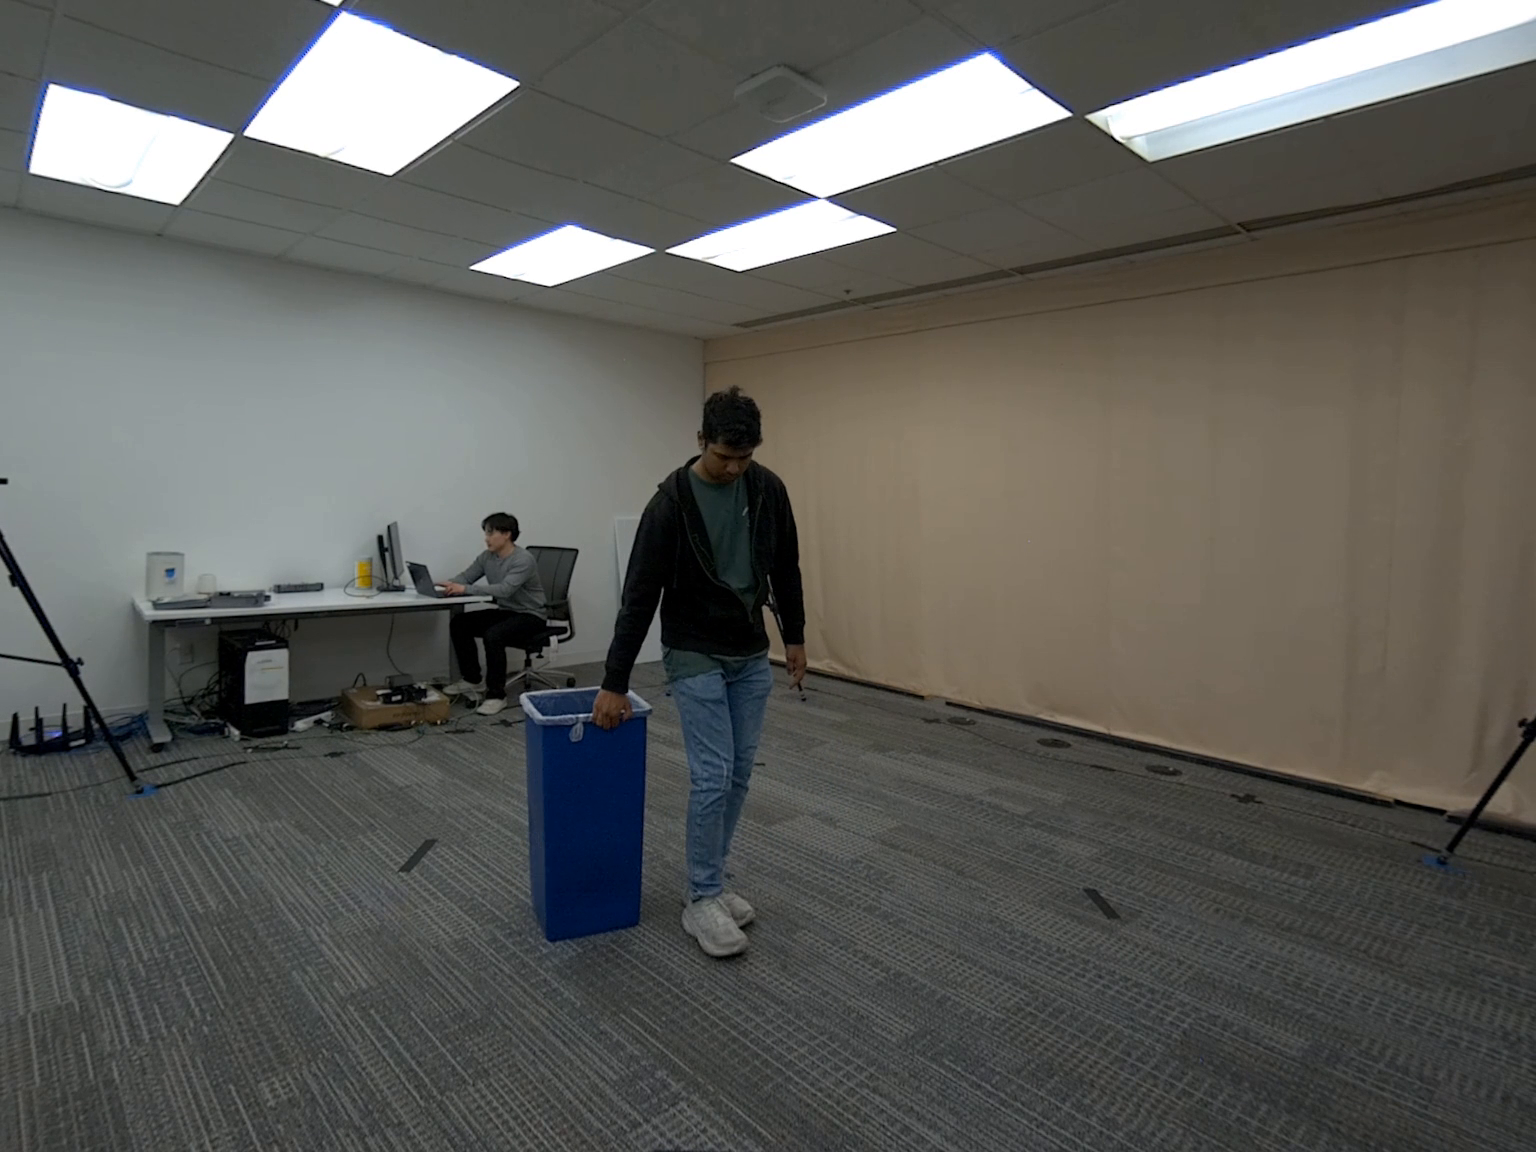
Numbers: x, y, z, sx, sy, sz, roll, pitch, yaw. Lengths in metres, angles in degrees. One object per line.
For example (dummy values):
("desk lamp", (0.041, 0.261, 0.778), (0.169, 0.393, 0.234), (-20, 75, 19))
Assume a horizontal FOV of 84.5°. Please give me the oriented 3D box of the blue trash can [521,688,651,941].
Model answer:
("blue trash can", (-0.606, 0.762, 2.795), (0.367, 0.712, 0.386), (-1, 3, -25))
